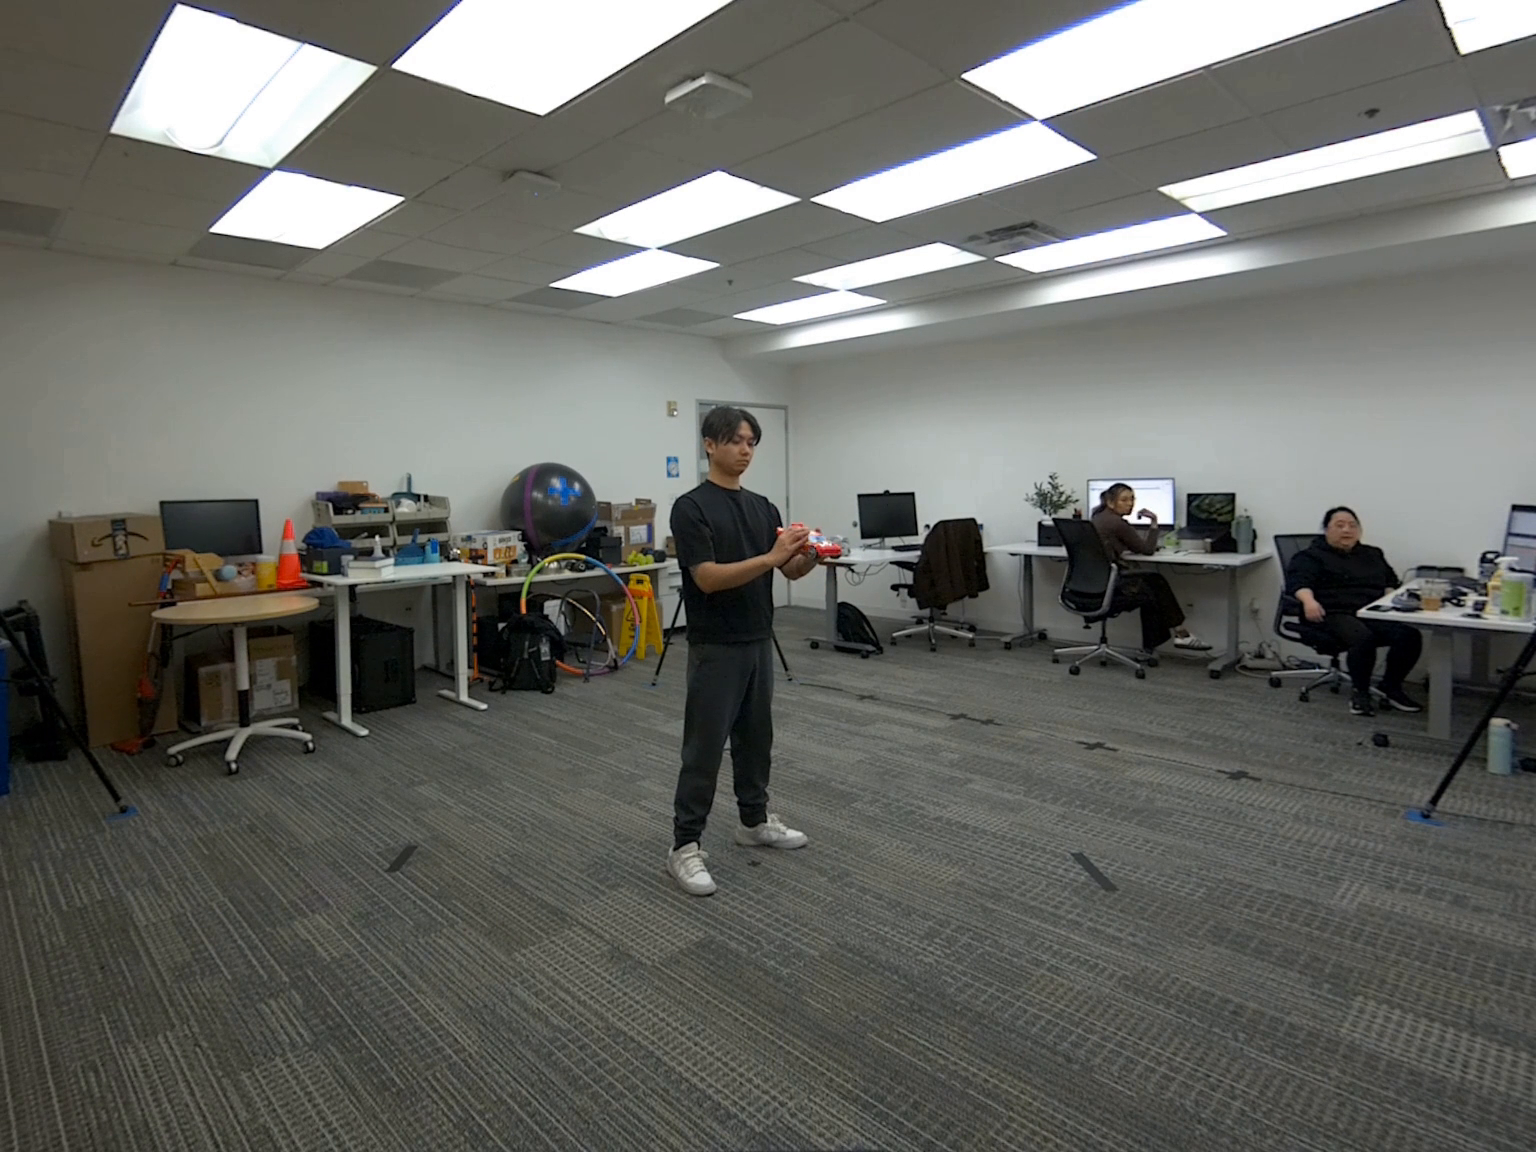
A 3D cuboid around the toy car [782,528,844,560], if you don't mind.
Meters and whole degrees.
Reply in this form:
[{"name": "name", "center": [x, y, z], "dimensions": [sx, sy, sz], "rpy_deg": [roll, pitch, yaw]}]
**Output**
[{"name": "toy car", "center": [0.123, -0.107, 2.850], "dimensions": [0.127, 0.082, 0.265], "rpy_deg": [-1, 26, -36]}]
